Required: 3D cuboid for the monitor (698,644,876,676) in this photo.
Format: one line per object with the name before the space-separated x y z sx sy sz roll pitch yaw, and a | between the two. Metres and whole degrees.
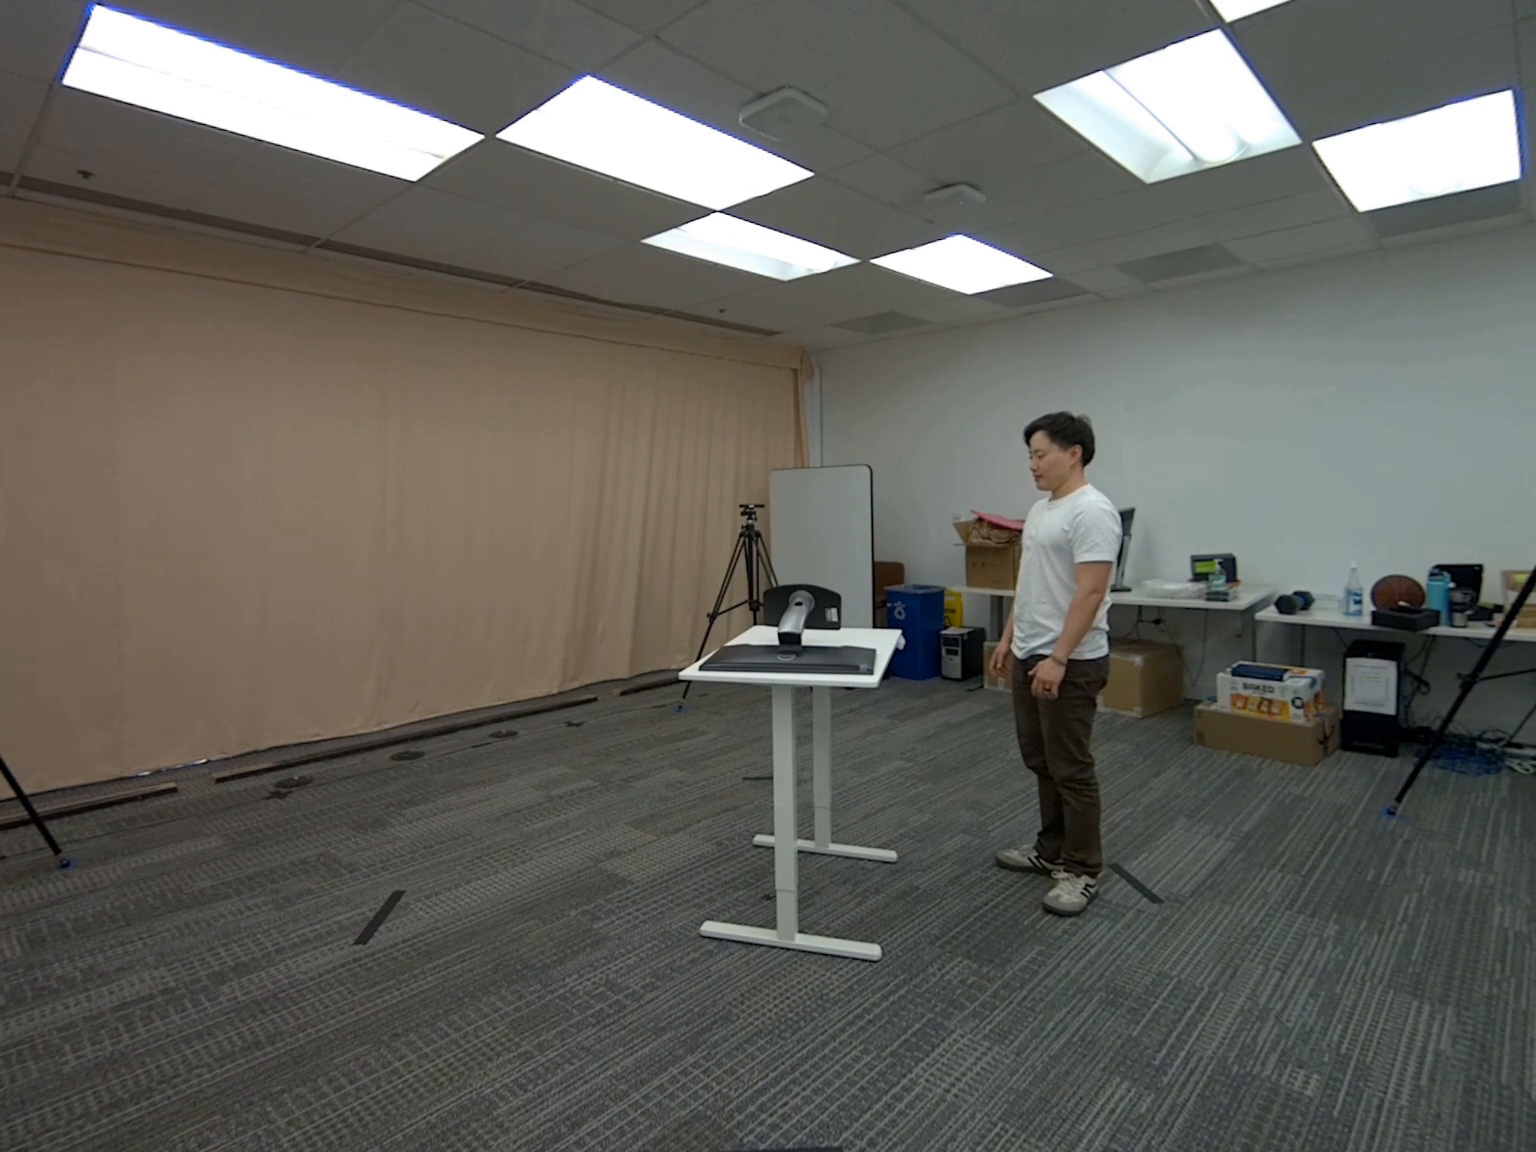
monitor | 0.094 0.213 2.797 0.547 0.184 0.523 -2 23 12
